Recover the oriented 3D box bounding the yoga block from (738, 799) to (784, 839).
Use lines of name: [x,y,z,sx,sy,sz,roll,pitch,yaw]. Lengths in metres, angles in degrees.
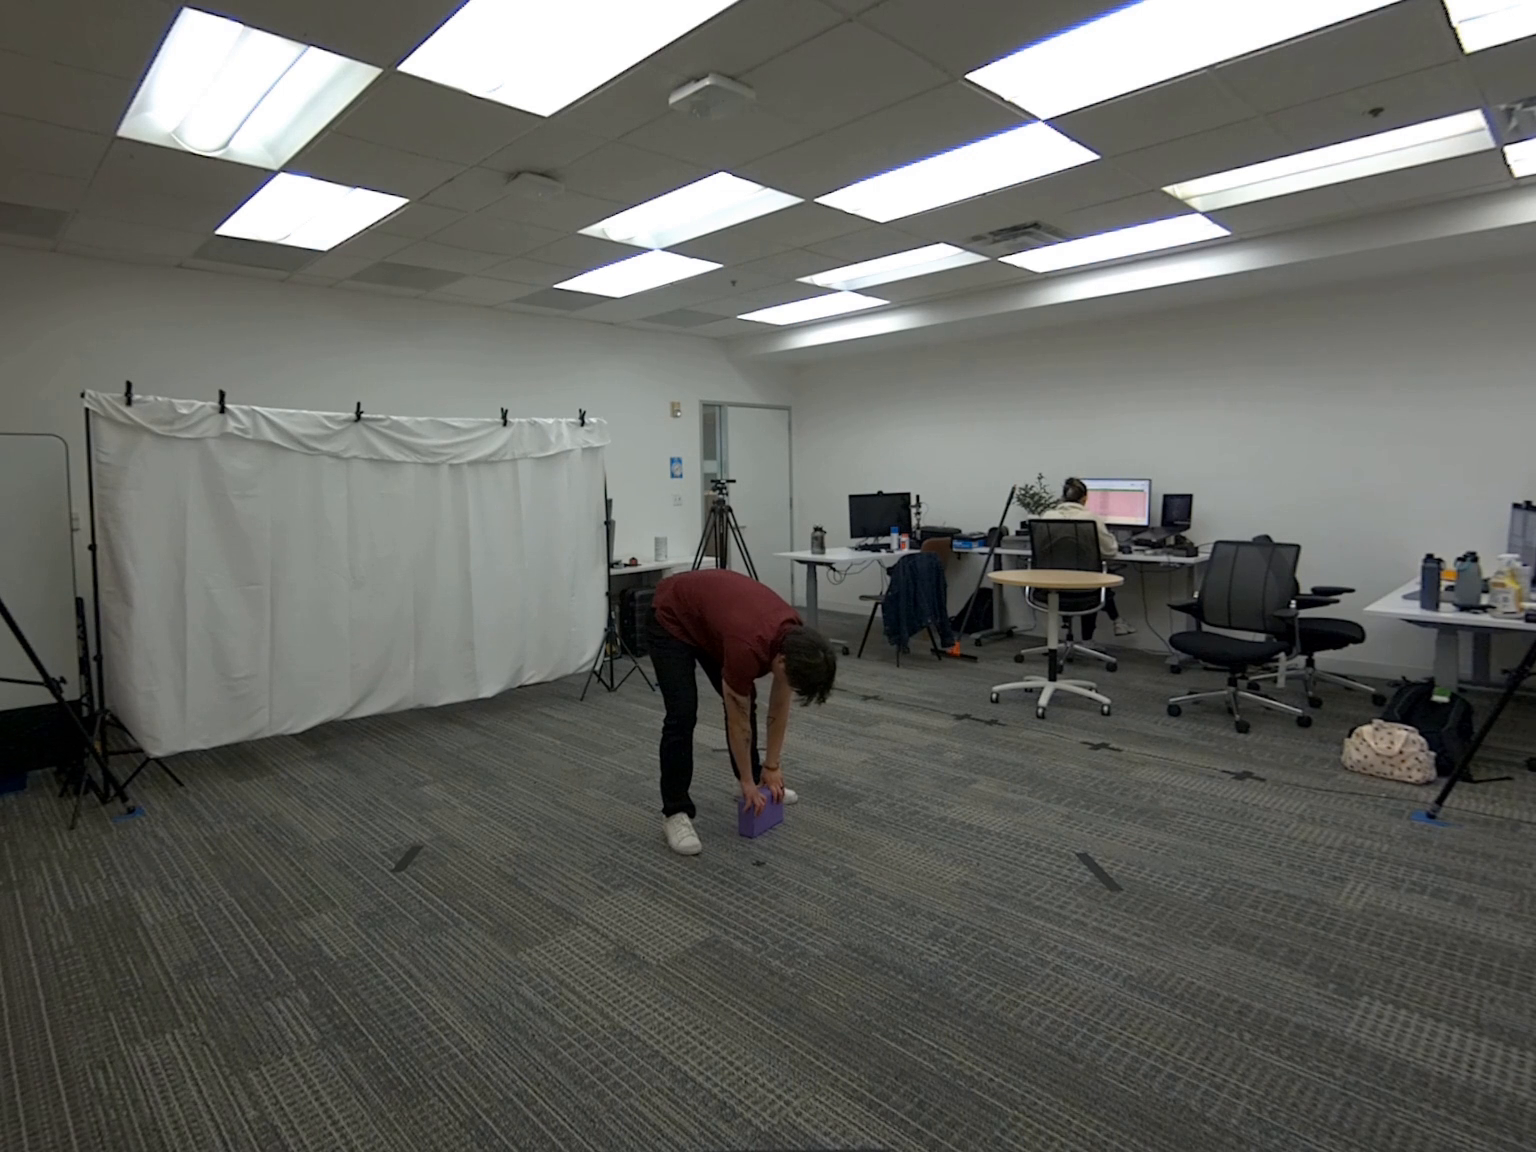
yoga block: [-0.034,0.941,3.437,0.078,0.149,0.224,-3,3,34]
